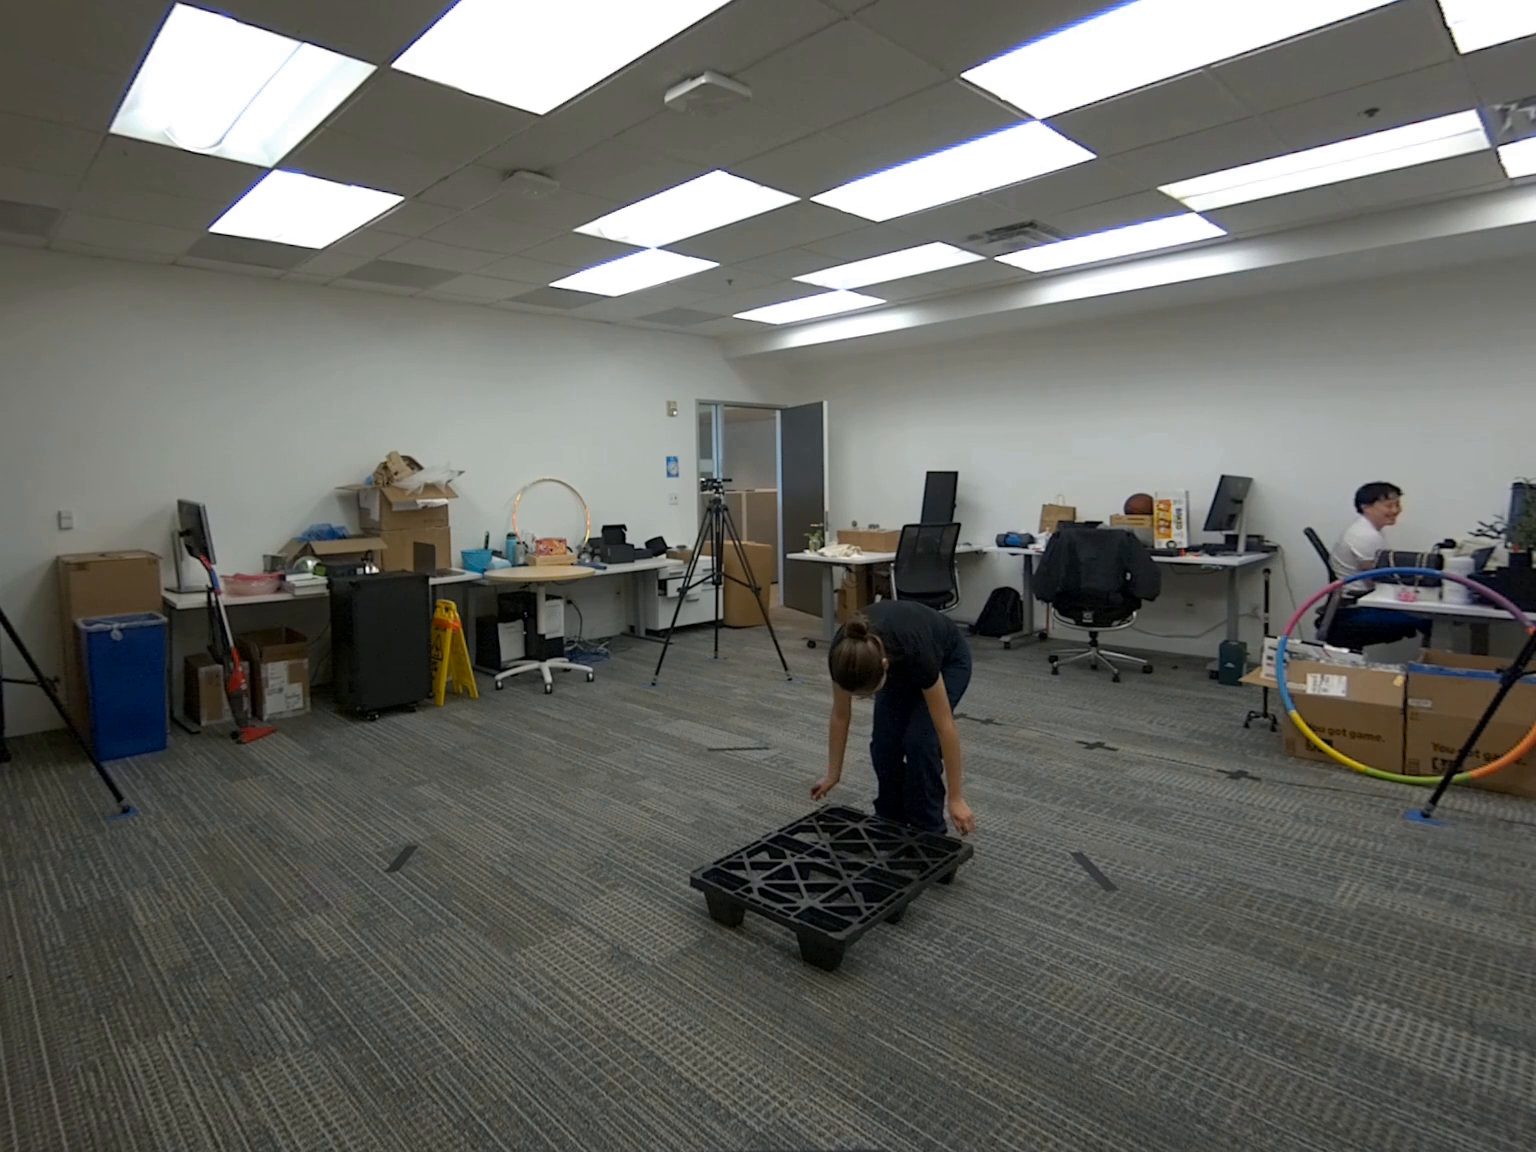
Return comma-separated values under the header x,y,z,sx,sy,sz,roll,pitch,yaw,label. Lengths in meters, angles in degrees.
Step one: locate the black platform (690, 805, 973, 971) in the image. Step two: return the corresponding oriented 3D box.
x,y,z,sx,sy,sz,roll,pitch,yaw,label
0.231,1.004,2.848,0.624,0.142,0.785,5,10,40,black platform
